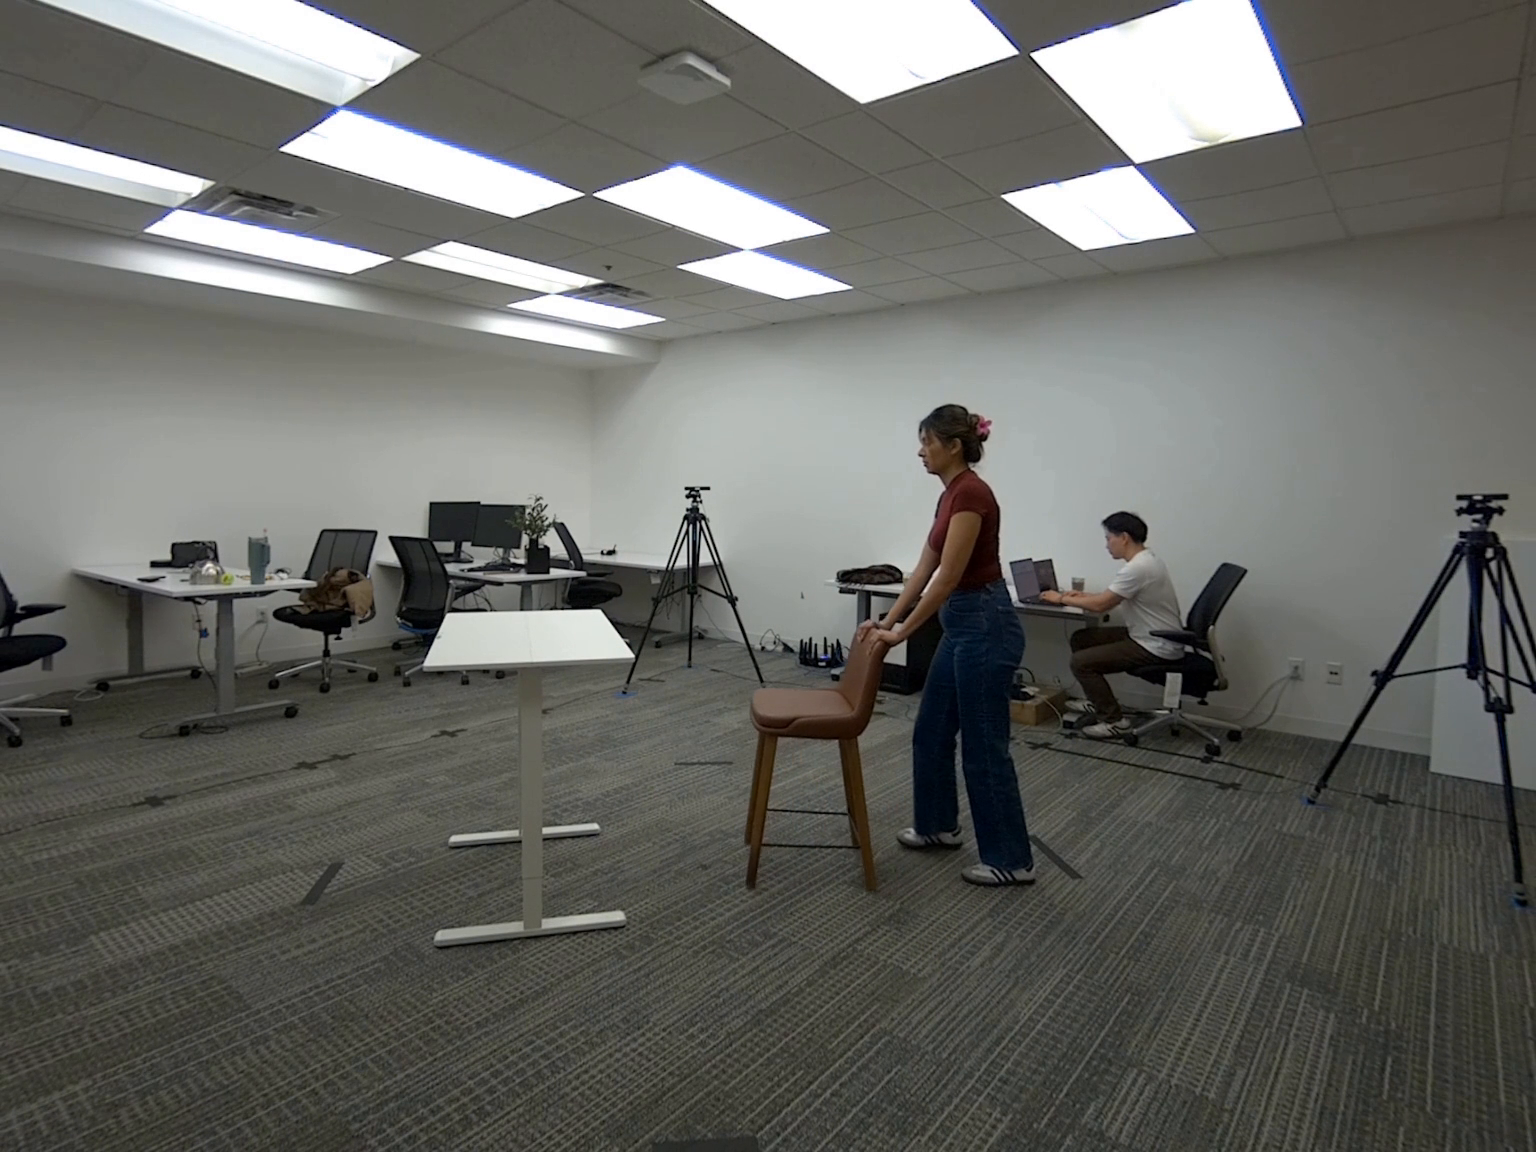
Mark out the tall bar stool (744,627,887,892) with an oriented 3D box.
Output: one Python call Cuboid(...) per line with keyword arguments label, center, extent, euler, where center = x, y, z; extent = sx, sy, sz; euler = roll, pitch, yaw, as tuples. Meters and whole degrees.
Cuboid(label="tall bar stool", center=(0.152, 0.631, 3.130), extent=(0.468, 0.887, 0.458), euler=(3, 3, -1))
